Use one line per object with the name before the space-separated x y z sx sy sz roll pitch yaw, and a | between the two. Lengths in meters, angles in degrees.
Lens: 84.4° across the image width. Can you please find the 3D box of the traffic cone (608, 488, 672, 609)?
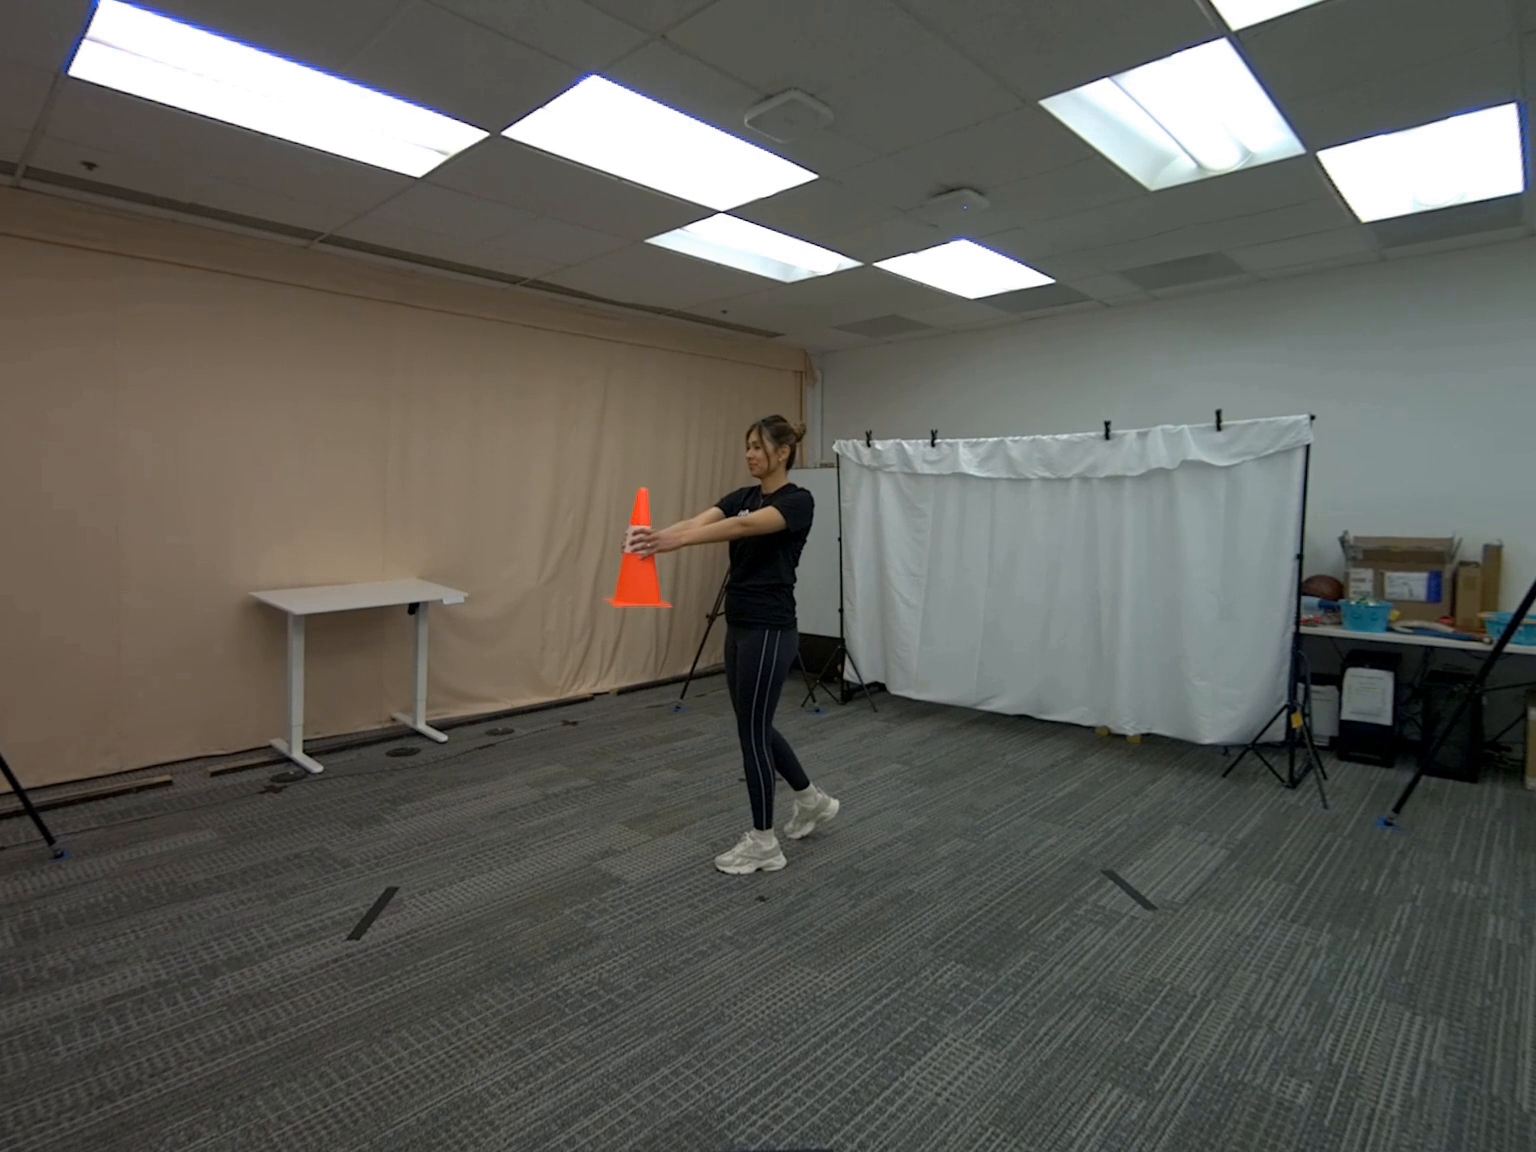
traffic cone | -0.427 -0.099 2.813 0.197 0.383 0.212 0 5 -36
